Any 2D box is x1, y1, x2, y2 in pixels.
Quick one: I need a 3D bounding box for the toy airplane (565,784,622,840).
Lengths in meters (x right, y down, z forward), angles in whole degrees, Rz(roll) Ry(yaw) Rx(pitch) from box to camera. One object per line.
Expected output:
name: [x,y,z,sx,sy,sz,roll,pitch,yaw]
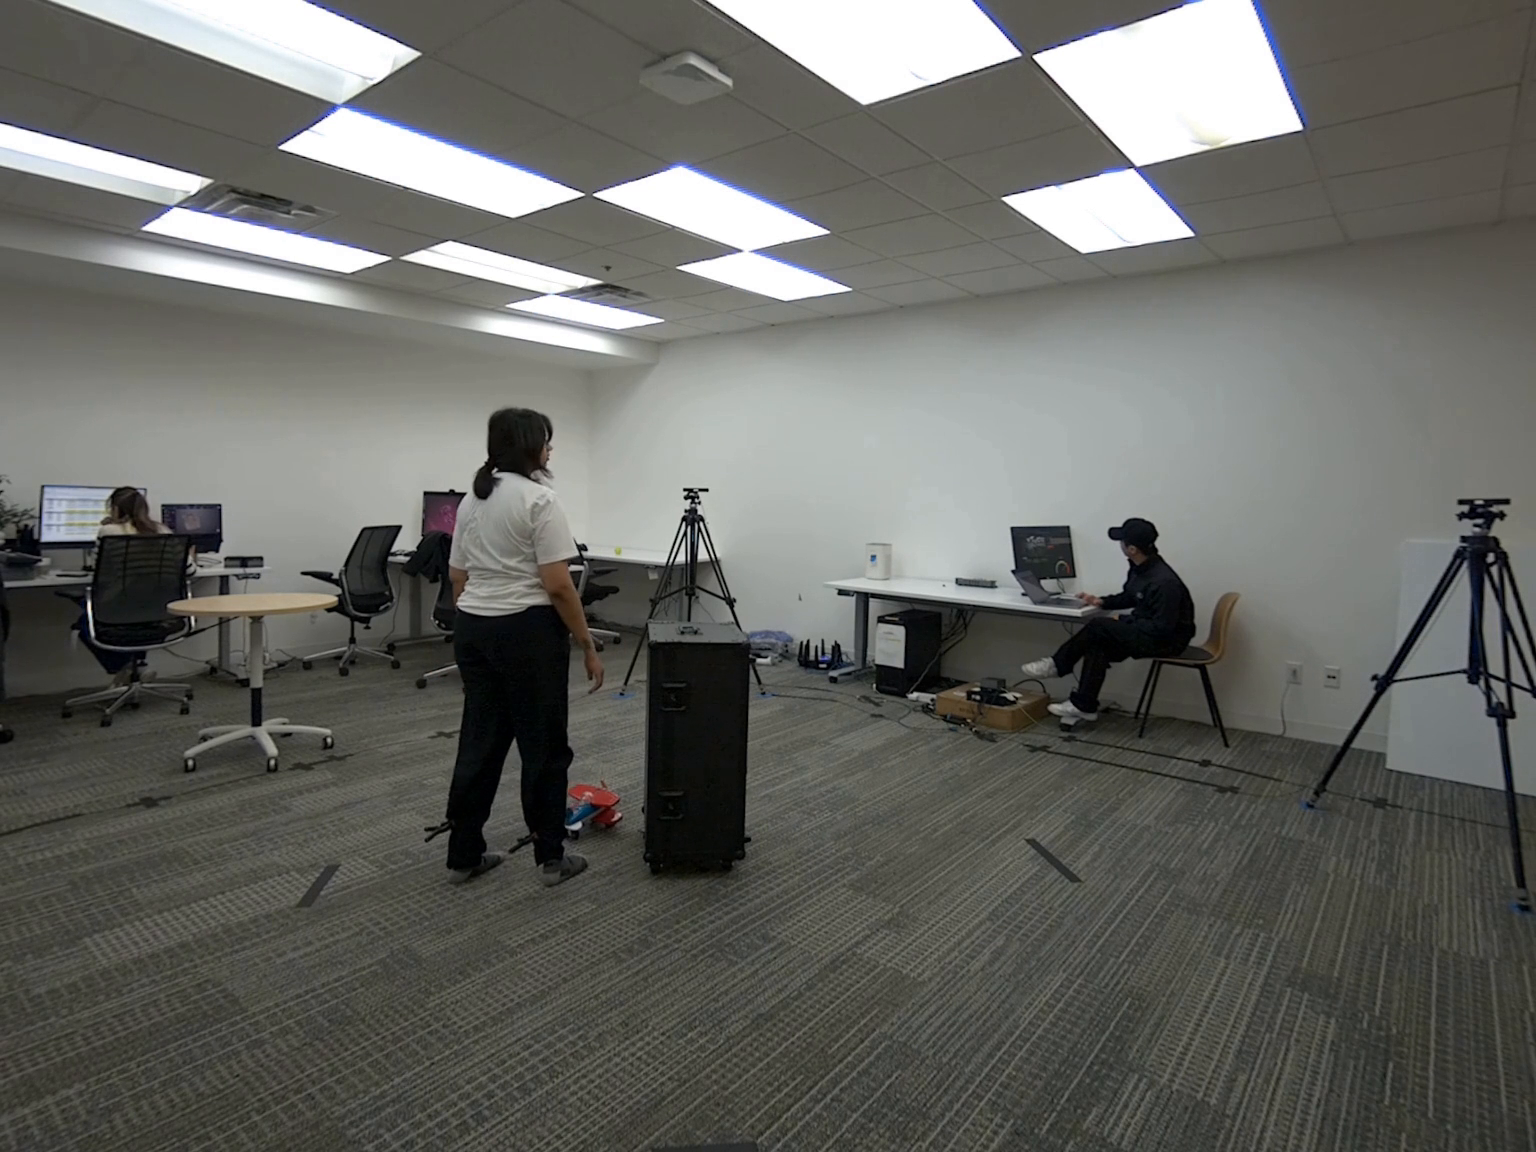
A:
toy airplane: [-0.723,0.958,3.441,0.253,0.156,0.258,1,3,6]
